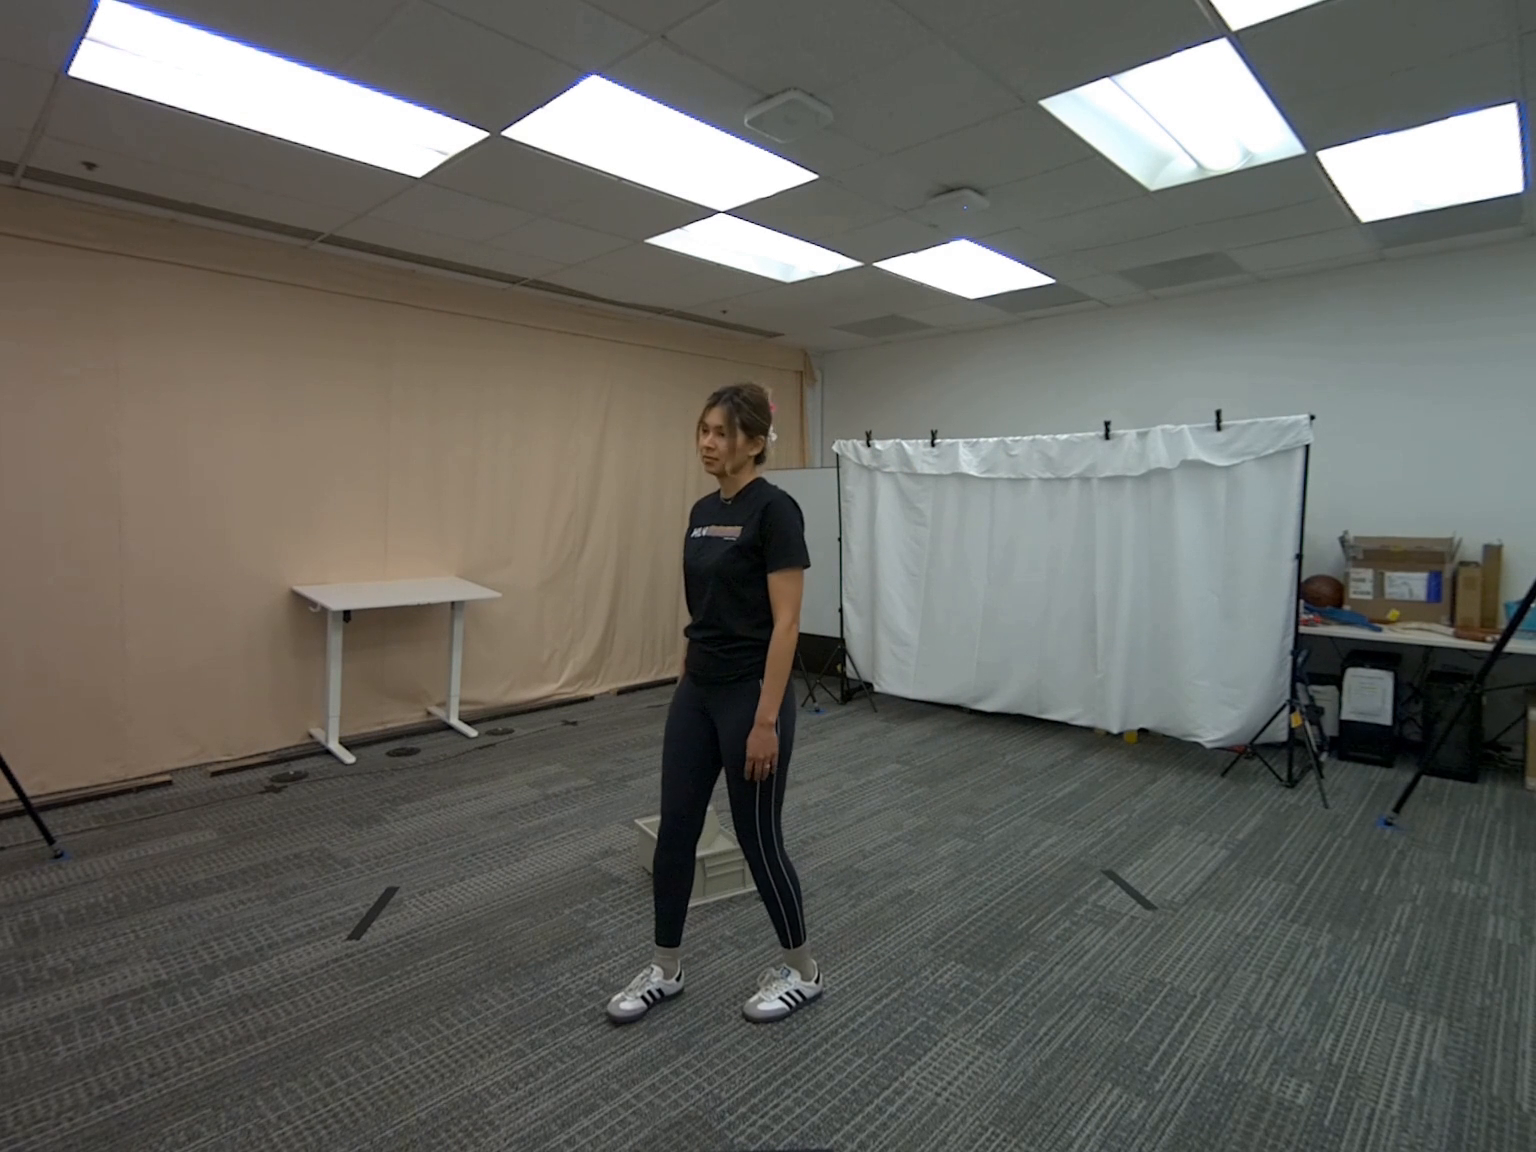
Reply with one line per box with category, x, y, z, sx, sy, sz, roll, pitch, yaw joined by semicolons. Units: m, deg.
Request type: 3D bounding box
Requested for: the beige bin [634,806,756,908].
beige bin;-0.247;1.041;3.169;0.367;0.188;0.435;-4;6;-31
